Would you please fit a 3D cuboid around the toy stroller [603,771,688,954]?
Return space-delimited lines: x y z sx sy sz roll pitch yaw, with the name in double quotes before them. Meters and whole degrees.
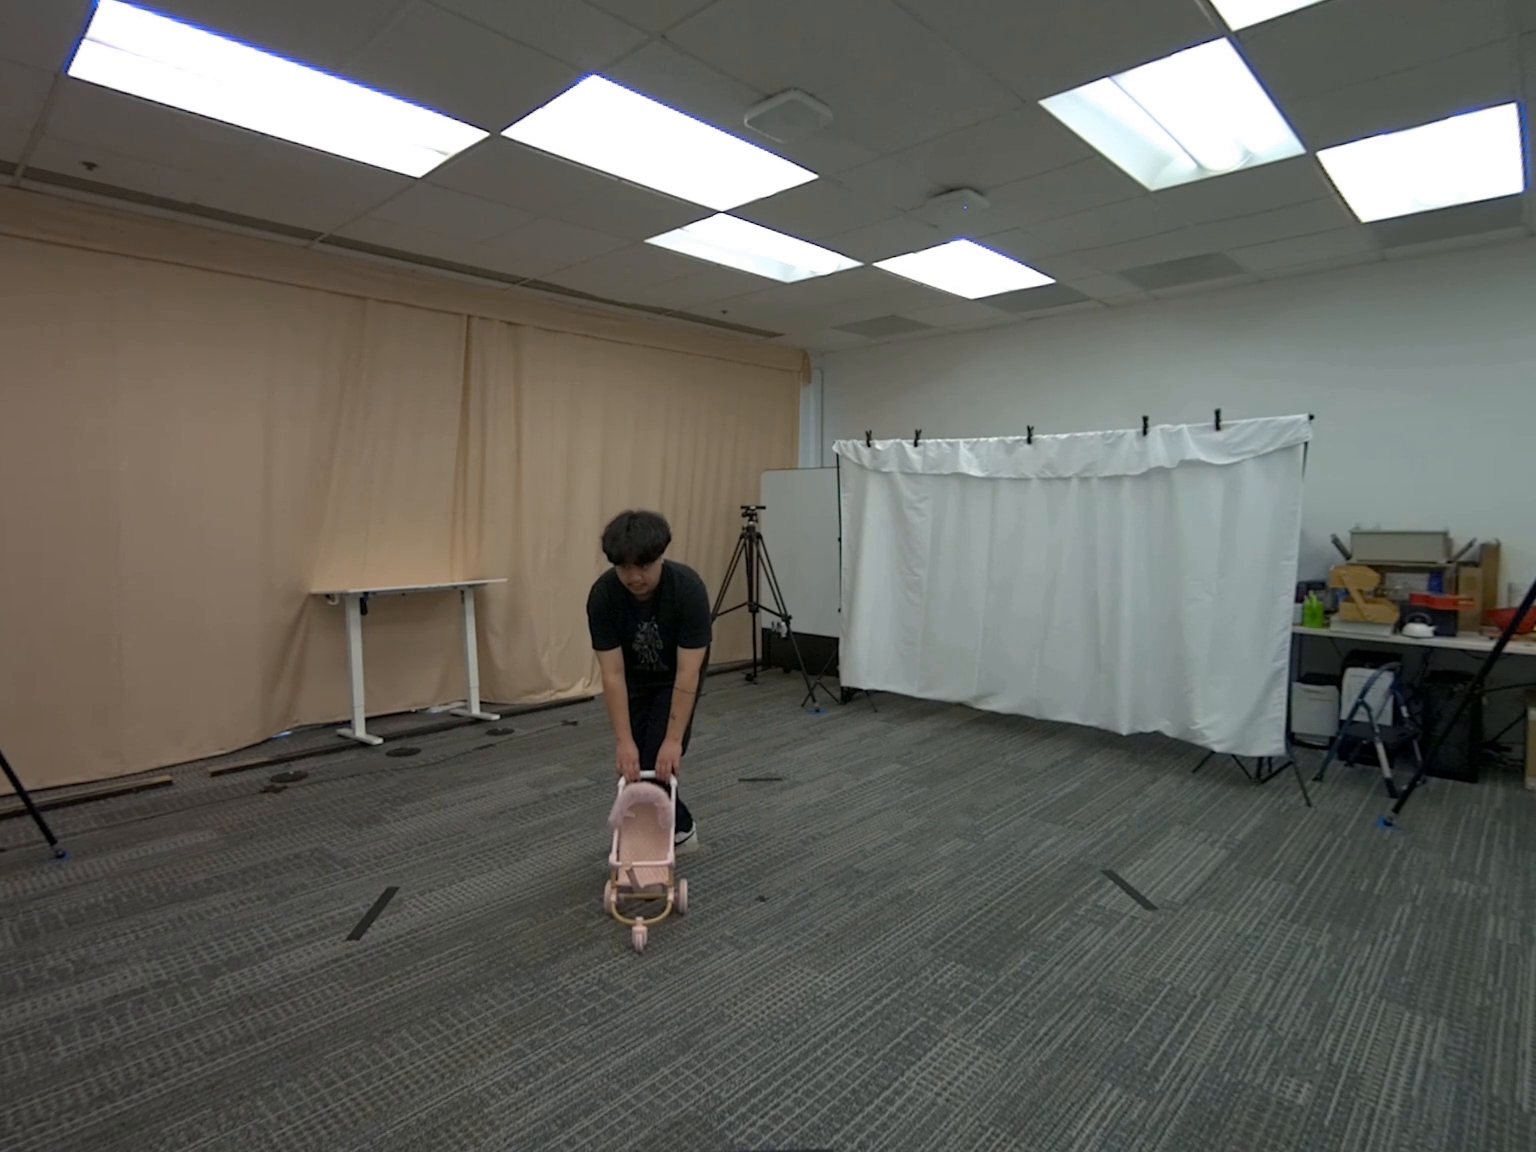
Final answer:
"toy stroller" -0.417 0.934 2.810 0.282 0.539 0.338 -1 -11 2
